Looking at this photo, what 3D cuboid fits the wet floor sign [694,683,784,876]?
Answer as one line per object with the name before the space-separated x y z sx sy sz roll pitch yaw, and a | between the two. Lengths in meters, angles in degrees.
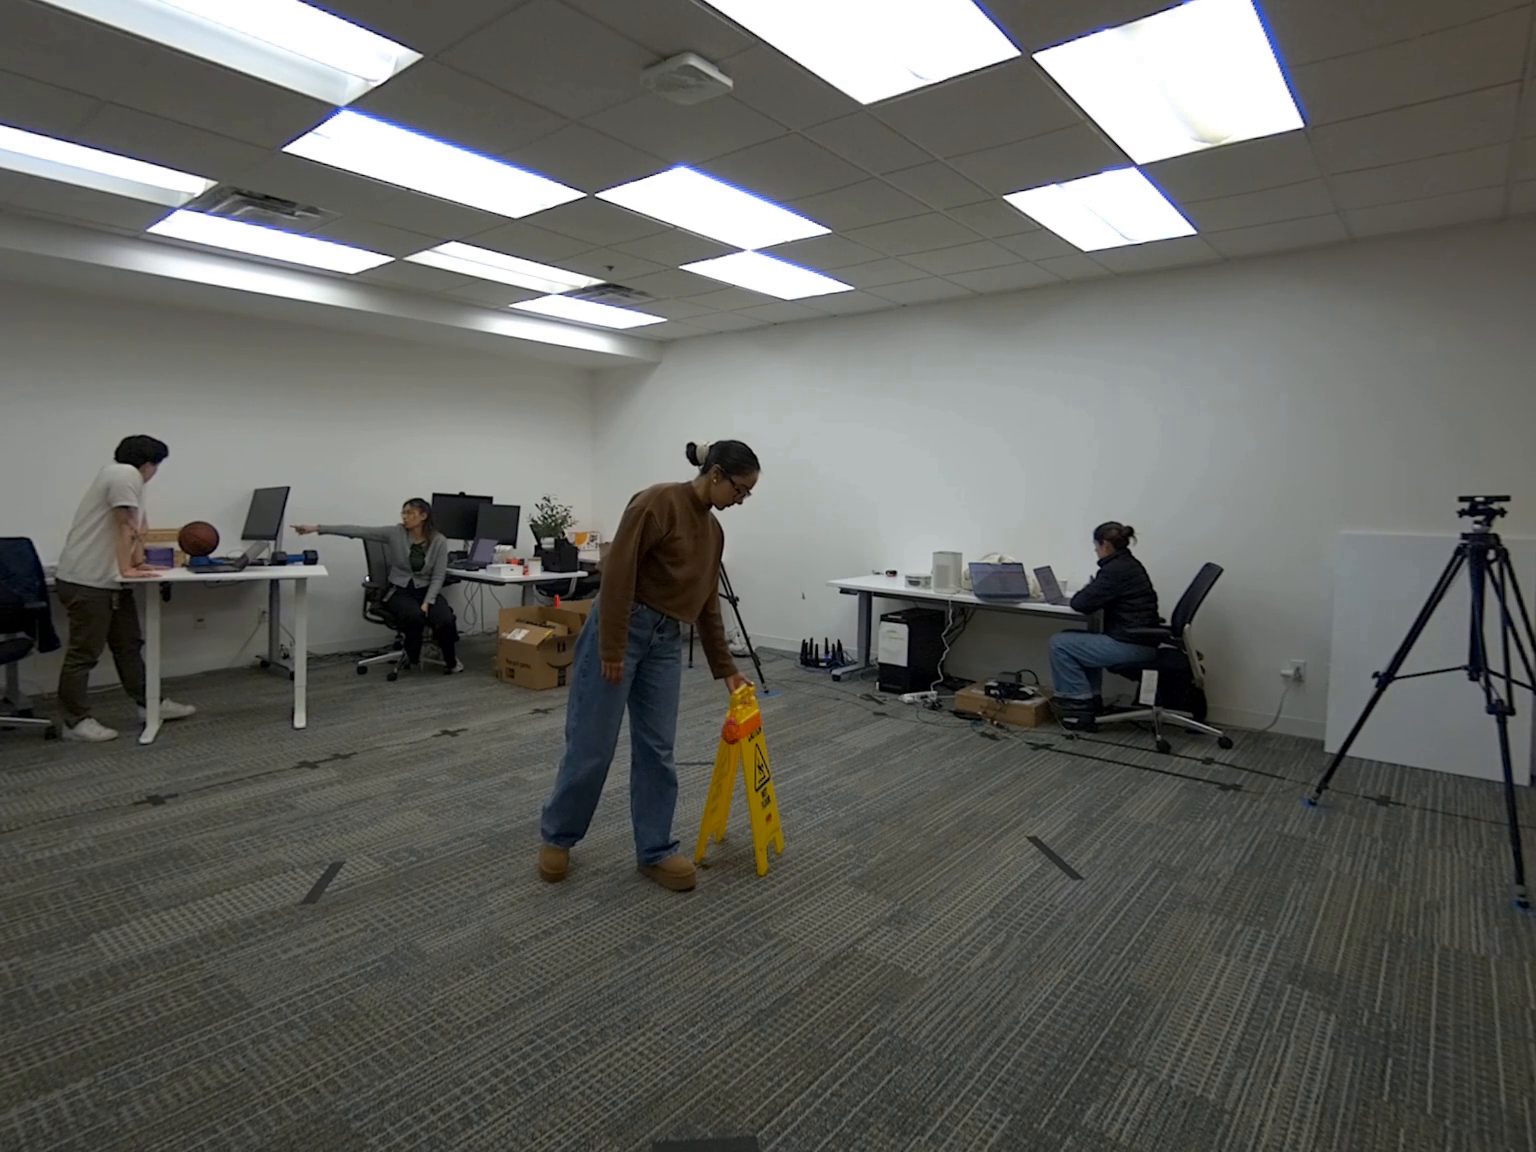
wet floor sign | -0.112 0.734 3.207 0.296 0.645 0.277 1 2 20
